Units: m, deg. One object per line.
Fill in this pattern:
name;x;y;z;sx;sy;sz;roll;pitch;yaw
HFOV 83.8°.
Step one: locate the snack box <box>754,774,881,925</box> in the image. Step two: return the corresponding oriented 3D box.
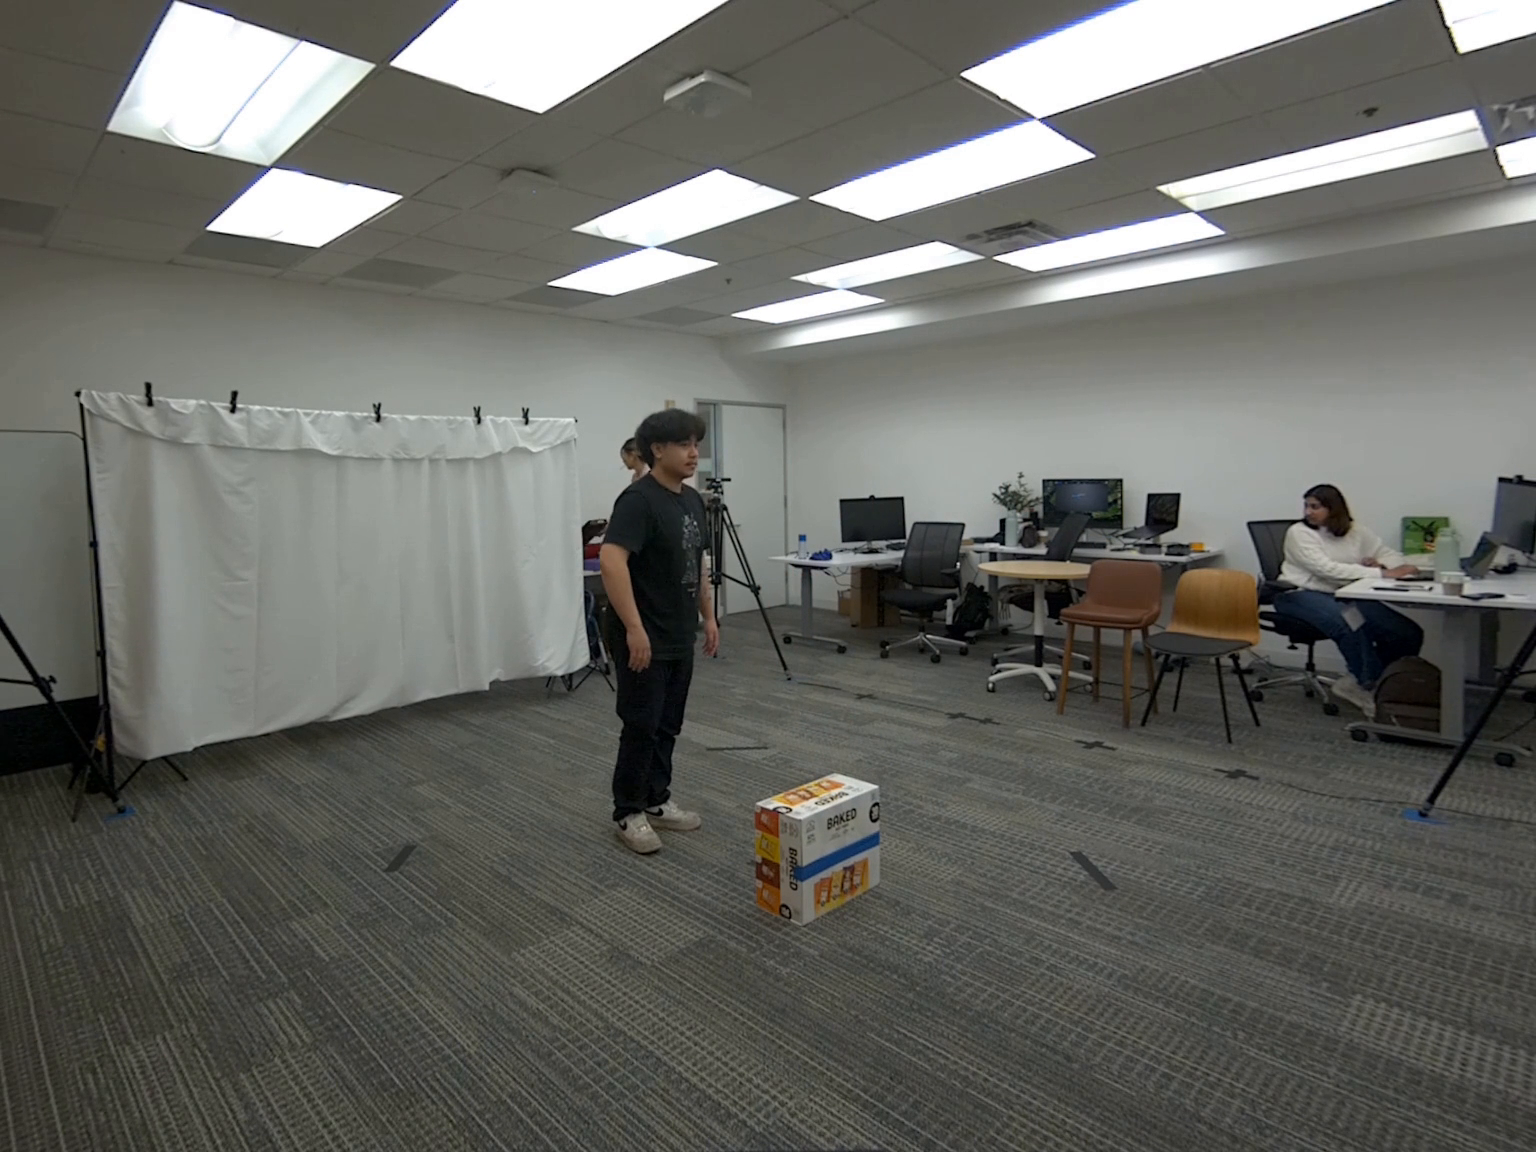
snack box;0.173;0.896;2.857;0.394;0.339;0.212;-6;6;-44
